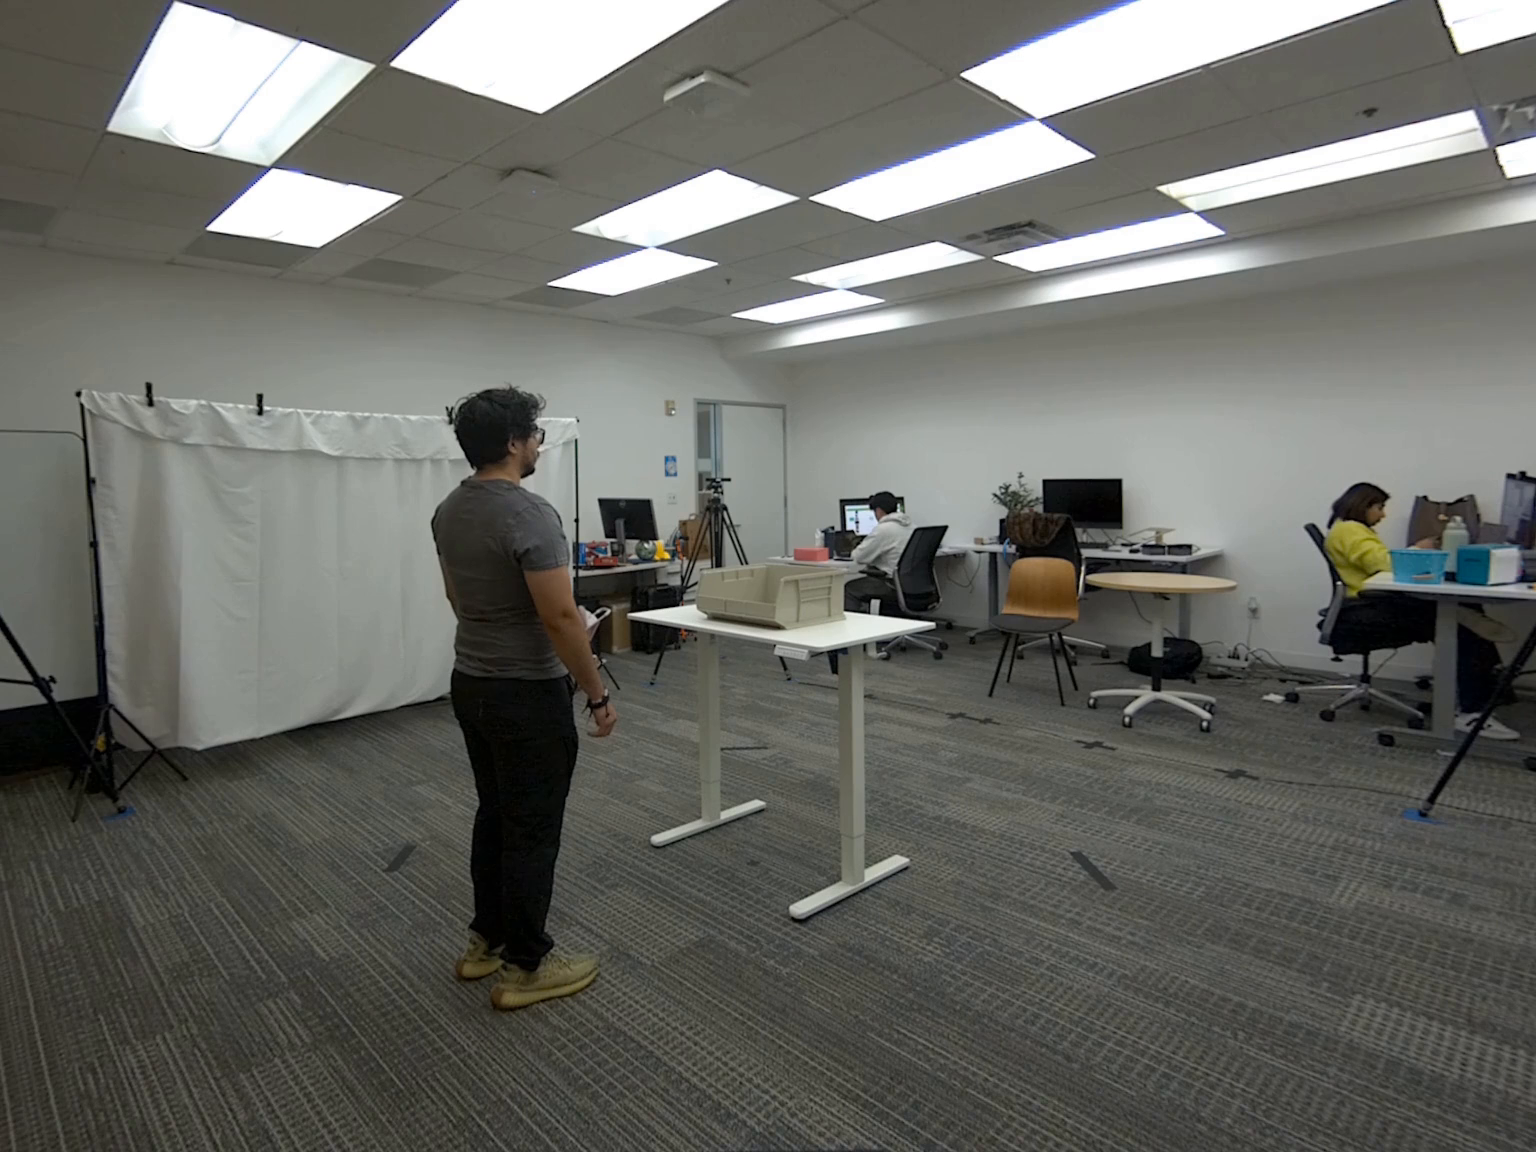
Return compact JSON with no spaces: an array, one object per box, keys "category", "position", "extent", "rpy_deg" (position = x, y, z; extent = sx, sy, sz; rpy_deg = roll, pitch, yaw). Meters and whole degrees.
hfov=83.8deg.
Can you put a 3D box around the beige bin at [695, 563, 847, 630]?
[{"category":"beige bin","position":[0.011,0.069,3.097],"extent":[0.367,0.188,0.435],"rpy_deg":[-5,6,-43]}]
